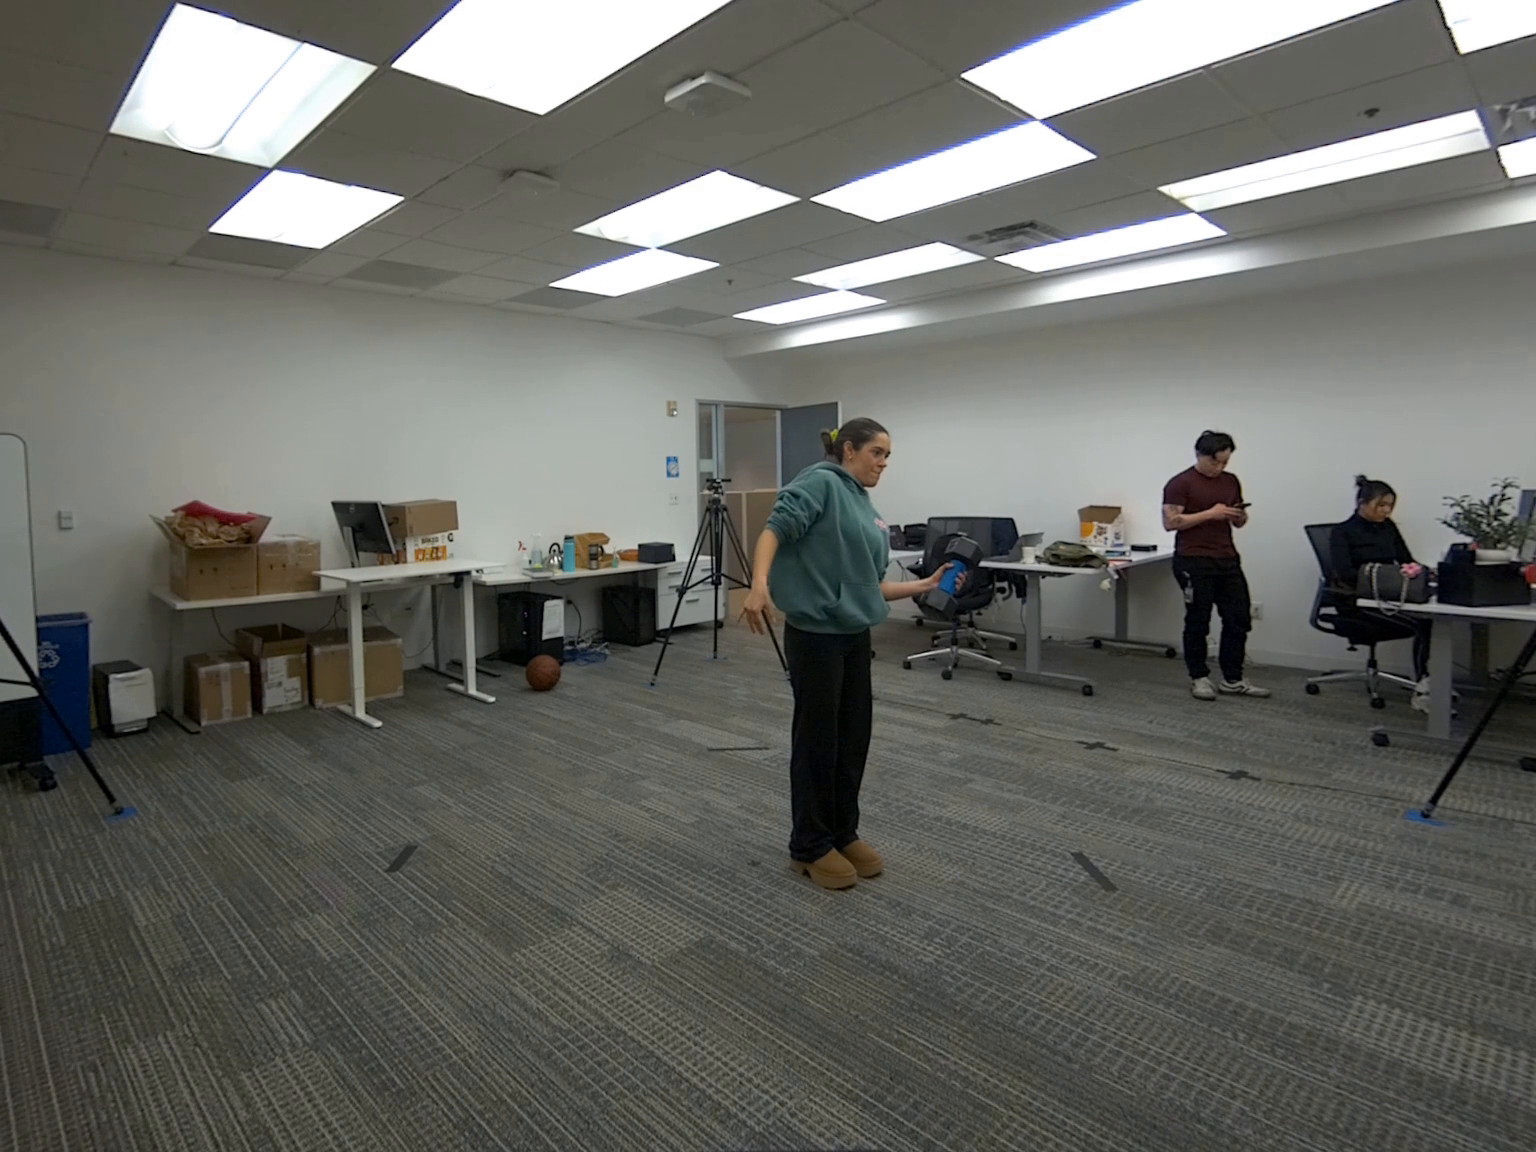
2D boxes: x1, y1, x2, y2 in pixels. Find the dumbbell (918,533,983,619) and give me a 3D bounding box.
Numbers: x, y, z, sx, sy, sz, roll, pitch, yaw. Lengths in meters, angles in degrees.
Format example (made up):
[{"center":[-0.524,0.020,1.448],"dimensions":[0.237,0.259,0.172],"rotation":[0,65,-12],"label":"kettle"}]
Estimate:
[{"center":[0.622,0.010,2.935],"dimensions":[0.112,0.295,0.118],"rotation":[12,-26,47],"label":"dumbbell"}]
